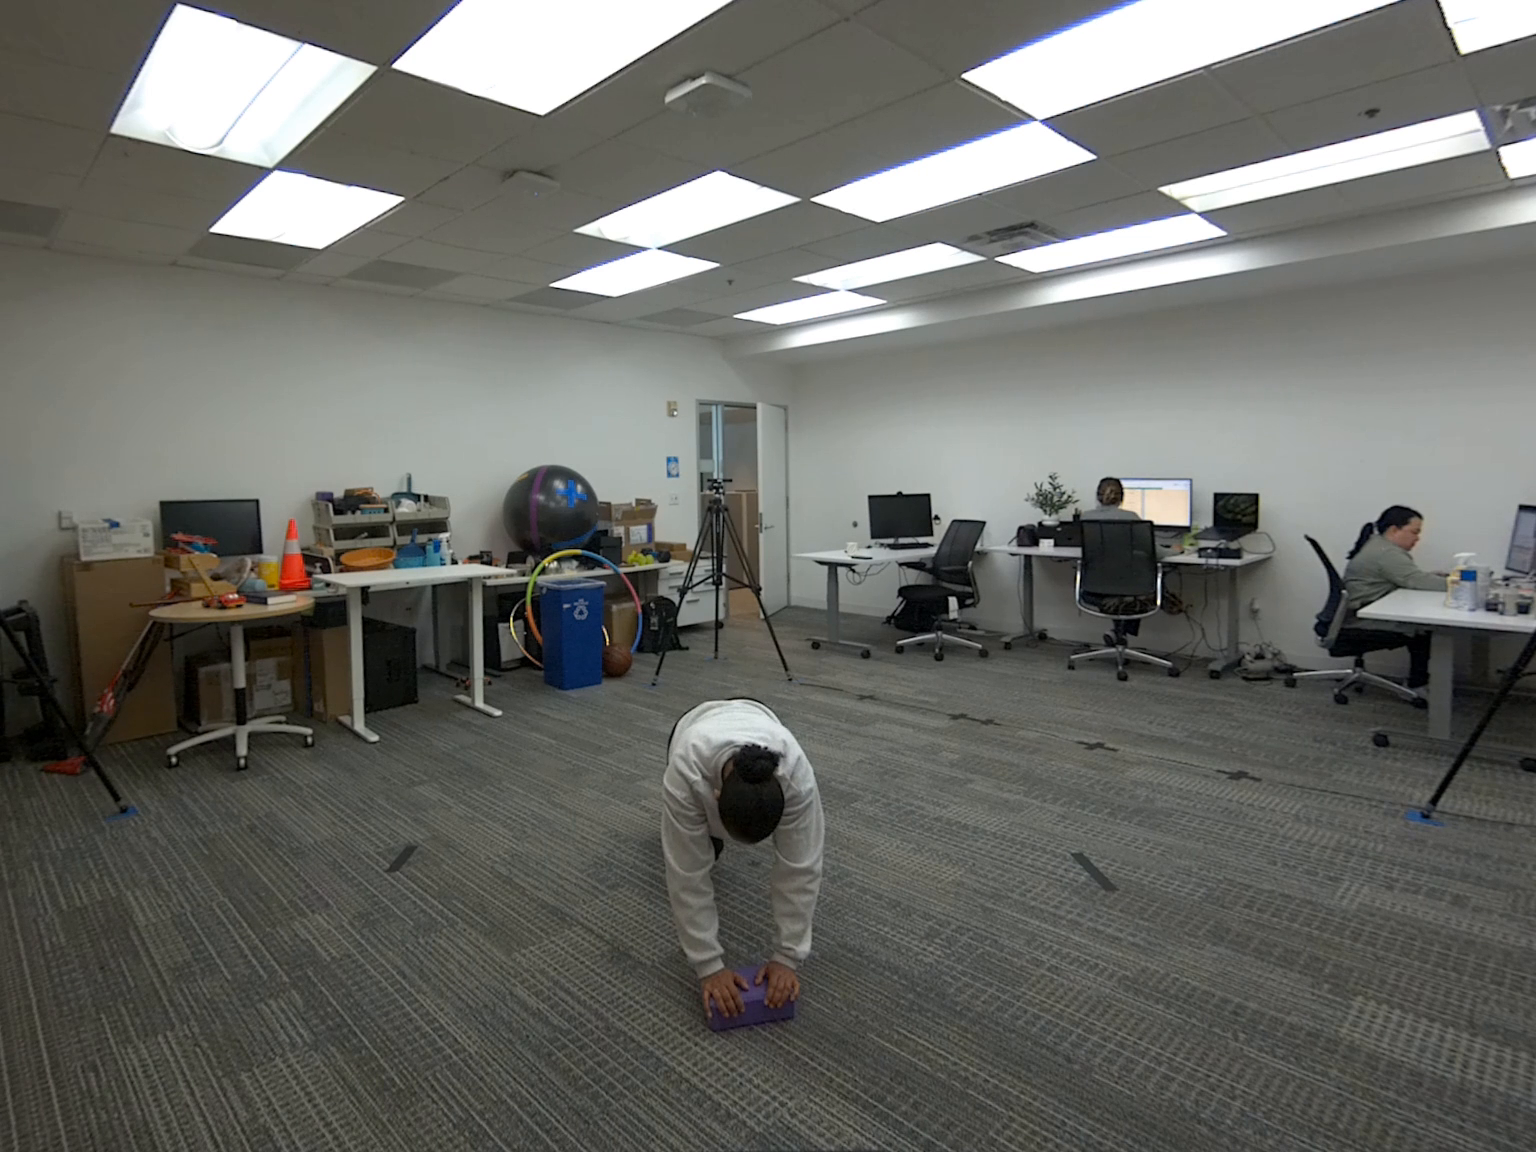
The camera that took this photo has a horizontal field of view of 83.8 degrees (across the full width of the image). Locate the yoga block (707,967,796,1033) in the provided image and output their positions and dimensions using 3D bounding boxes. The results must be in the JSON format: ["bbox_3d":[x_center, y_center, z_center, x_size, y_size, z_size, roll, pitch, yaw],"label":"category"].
[{"bbox_3d":[-0.048,1.117,2.254,0.227,0.076,0.151,-2,7,-13],"label":"yoga block"}]
